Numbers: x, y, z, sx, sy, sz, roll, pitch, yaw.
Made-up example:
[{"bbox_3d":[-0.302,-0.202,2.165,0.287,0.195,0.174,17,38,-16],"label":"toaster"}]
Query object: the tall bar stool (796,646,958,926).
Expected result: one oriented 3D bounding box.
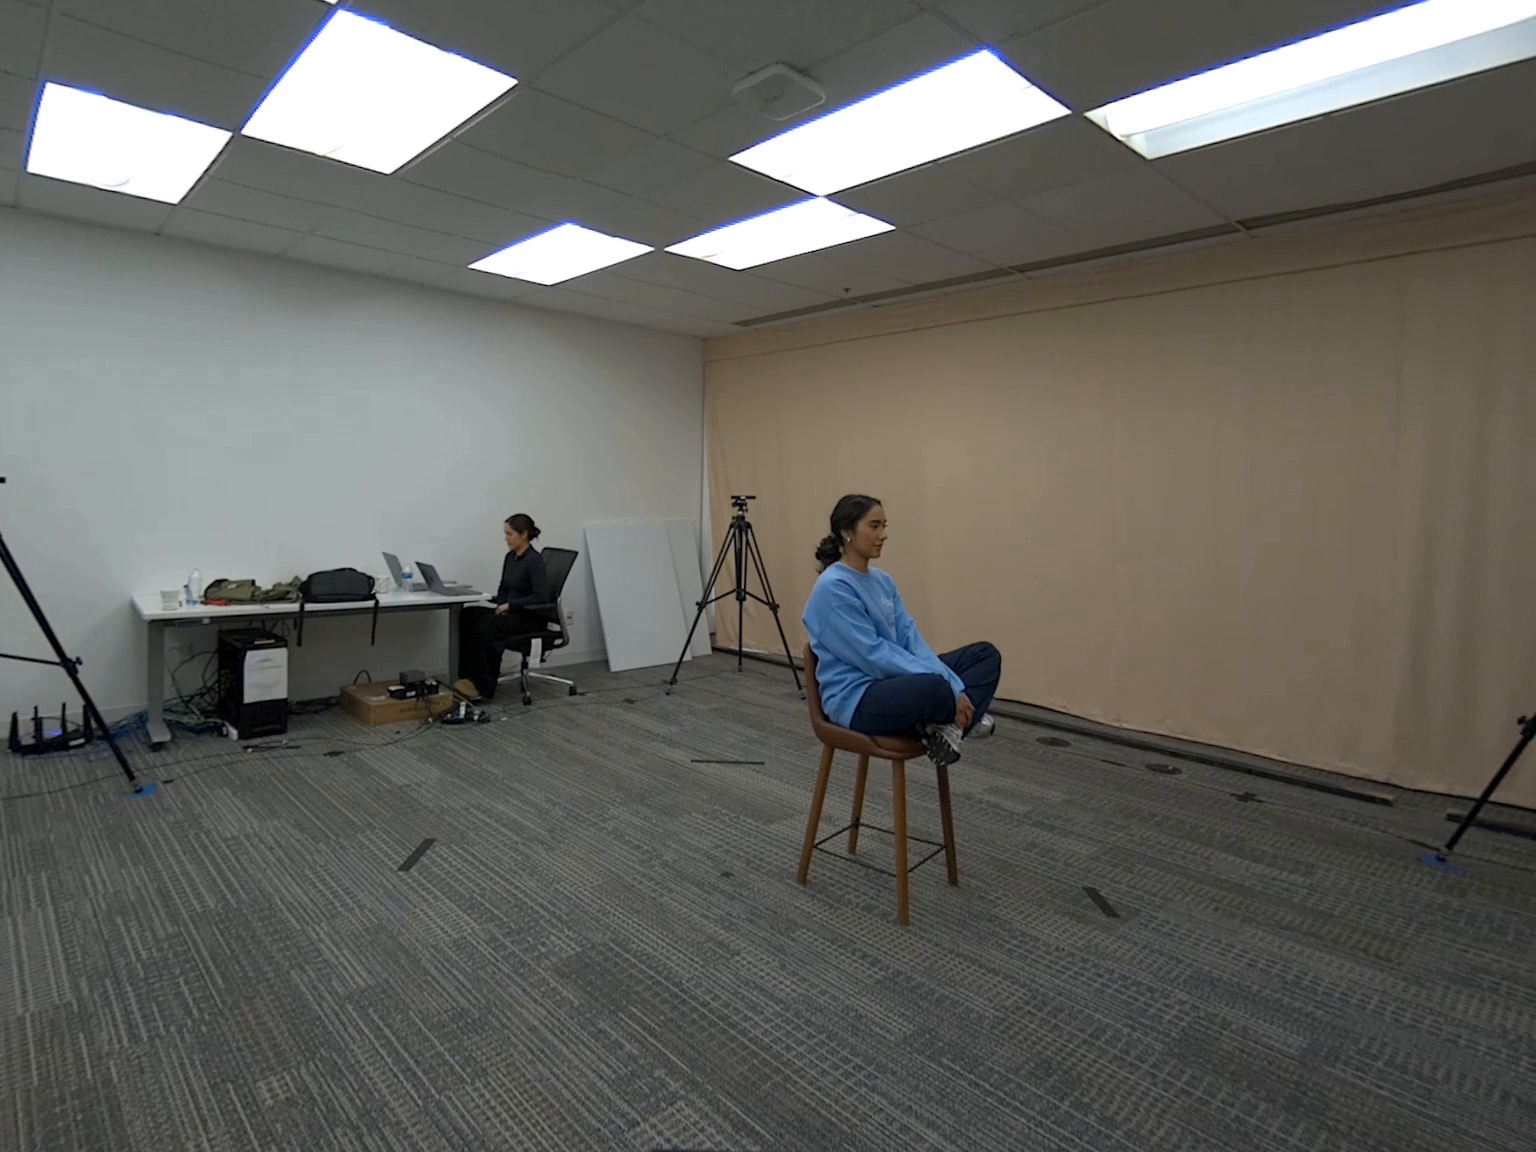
[{"bbox_3d":[0.393,0.688,3.034,0.479,0.888,0.446,2,2,39],"label":"tall bar stool"}]
